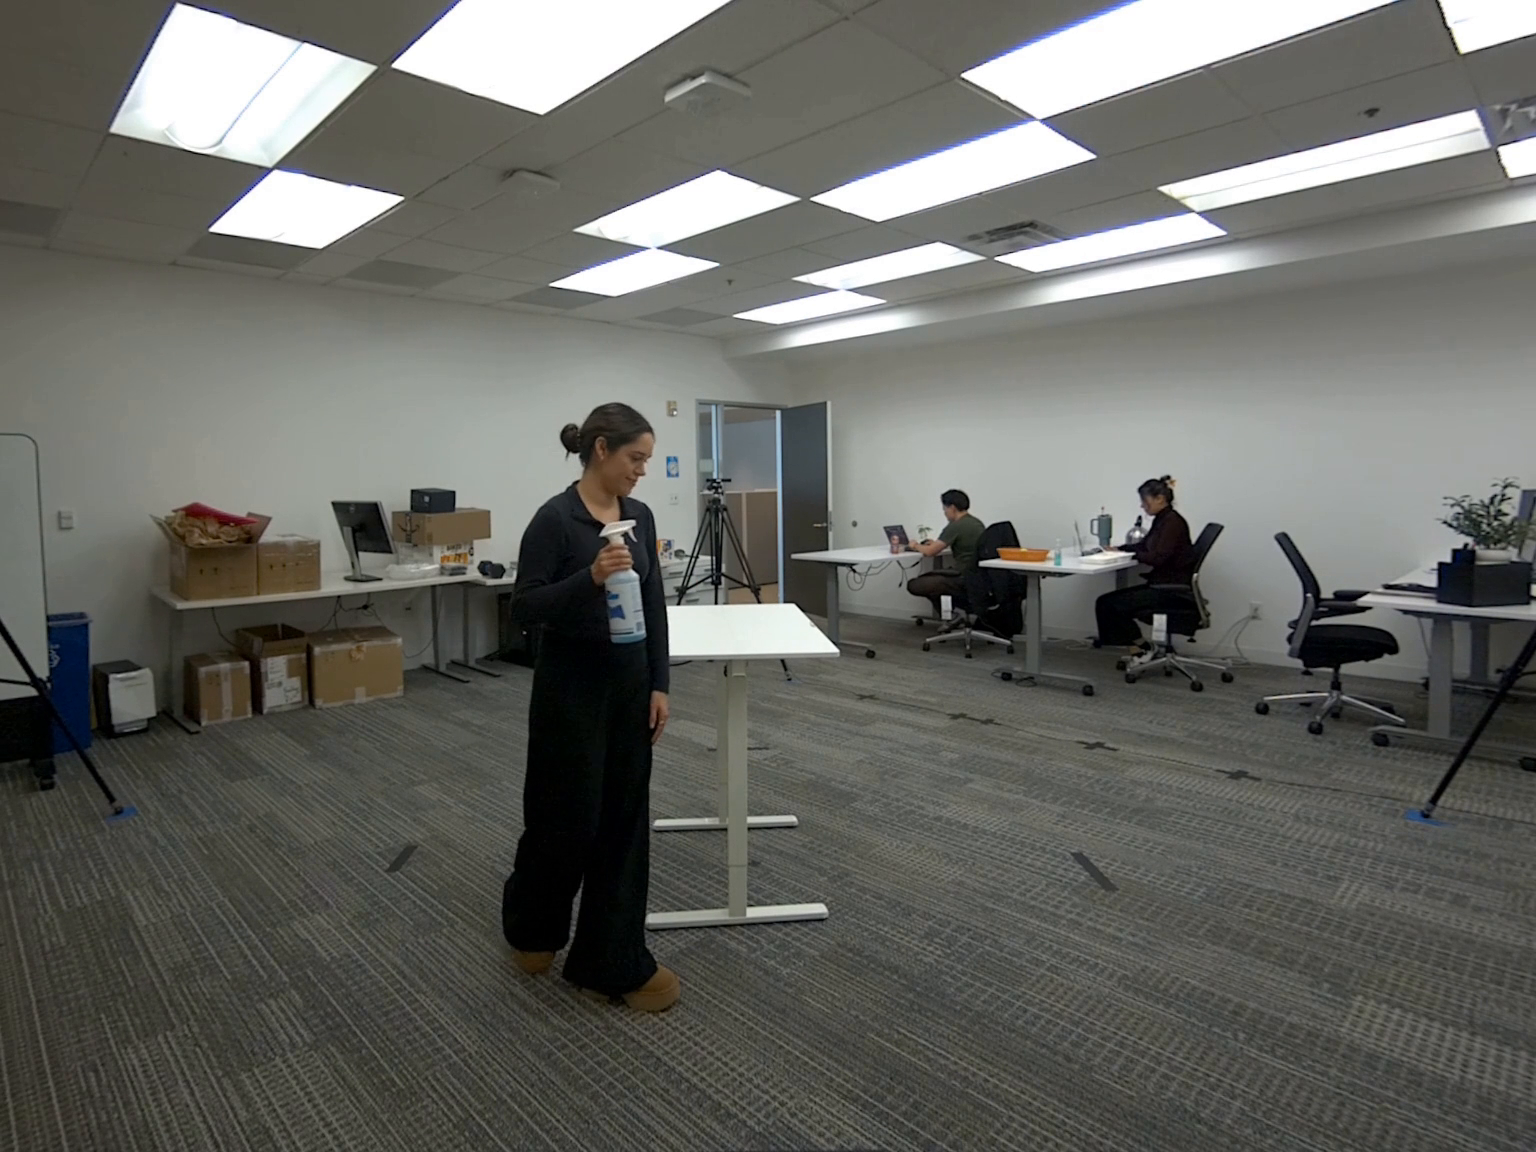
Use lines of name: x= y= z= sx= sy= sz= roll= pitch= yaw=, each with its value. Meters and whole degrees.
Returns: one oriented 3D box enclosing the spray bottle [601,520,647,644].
spray bottle: x=-0.375 y=0.018 z=2.126 sx=0.091 sy=0.297 sz=0.086 roll=-3 pitch=1 yaw=7
